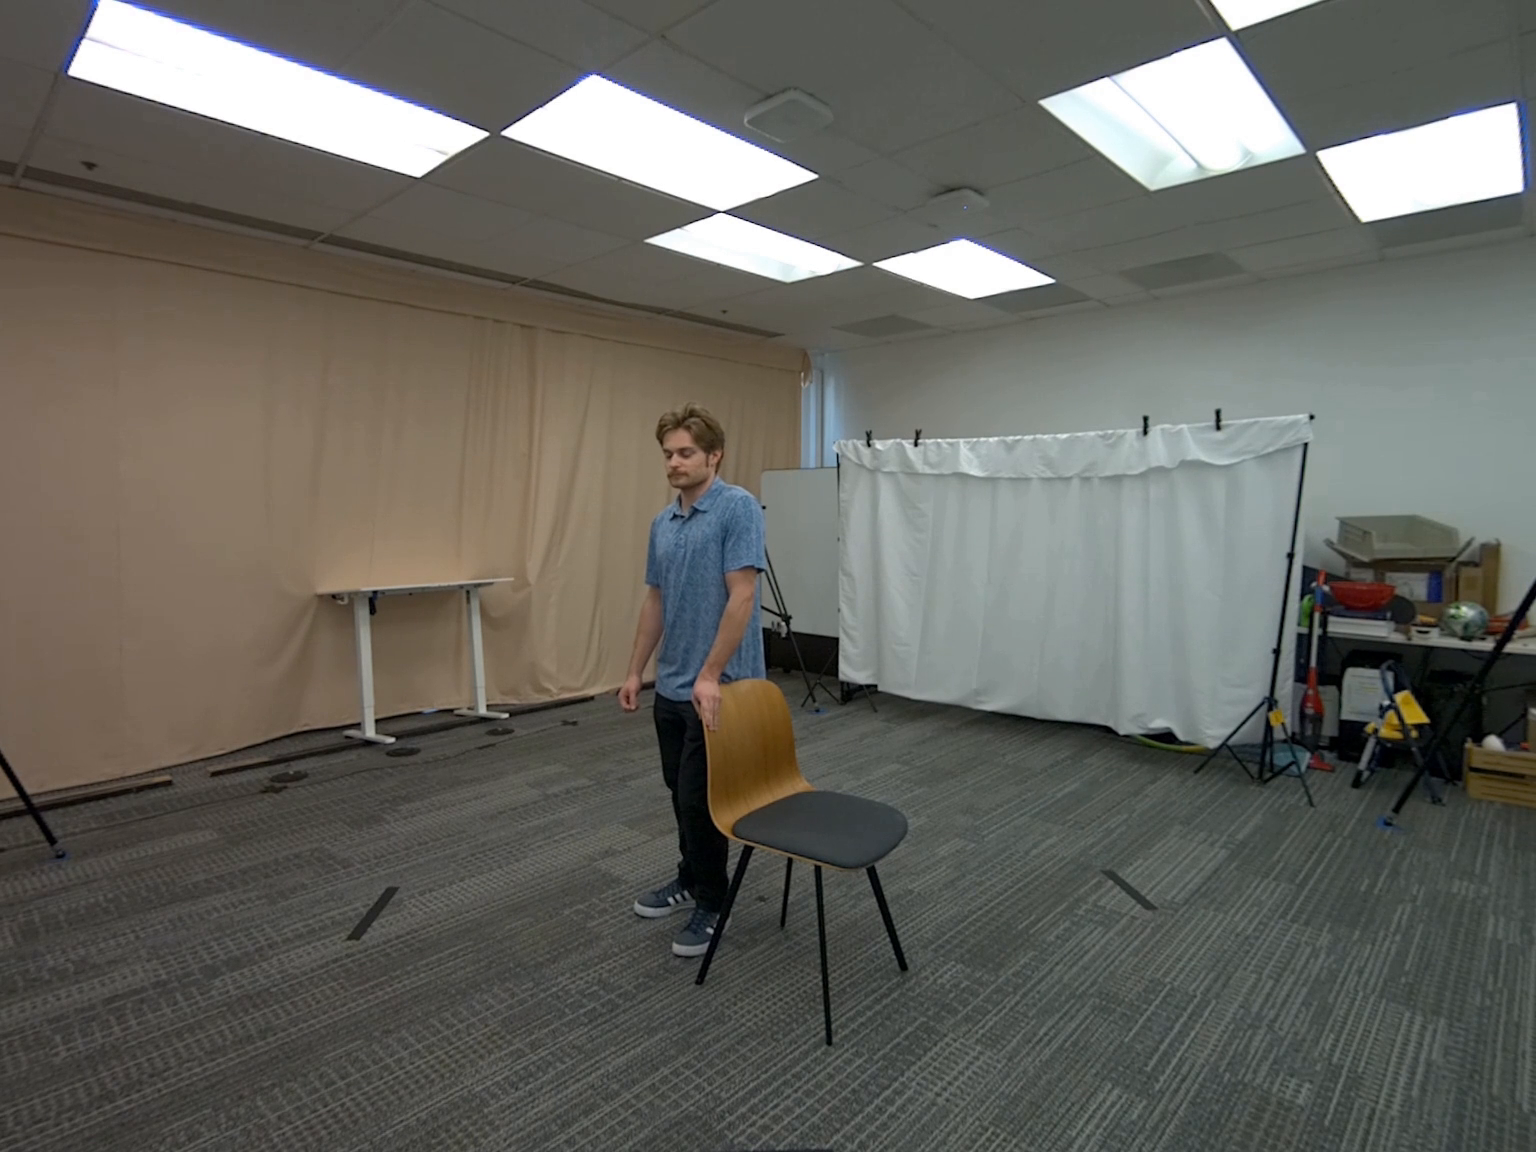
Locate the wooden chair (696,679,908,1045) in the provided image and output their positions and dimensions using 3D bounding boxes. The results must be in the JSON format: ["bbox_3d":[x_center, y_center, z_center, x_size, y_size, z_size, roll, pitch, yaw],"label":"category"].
[{"bbox_3d":[0.116,0.760,2.452,0.539,0.877,0.464,-3,0,37],"label":"wooden chair"}]
